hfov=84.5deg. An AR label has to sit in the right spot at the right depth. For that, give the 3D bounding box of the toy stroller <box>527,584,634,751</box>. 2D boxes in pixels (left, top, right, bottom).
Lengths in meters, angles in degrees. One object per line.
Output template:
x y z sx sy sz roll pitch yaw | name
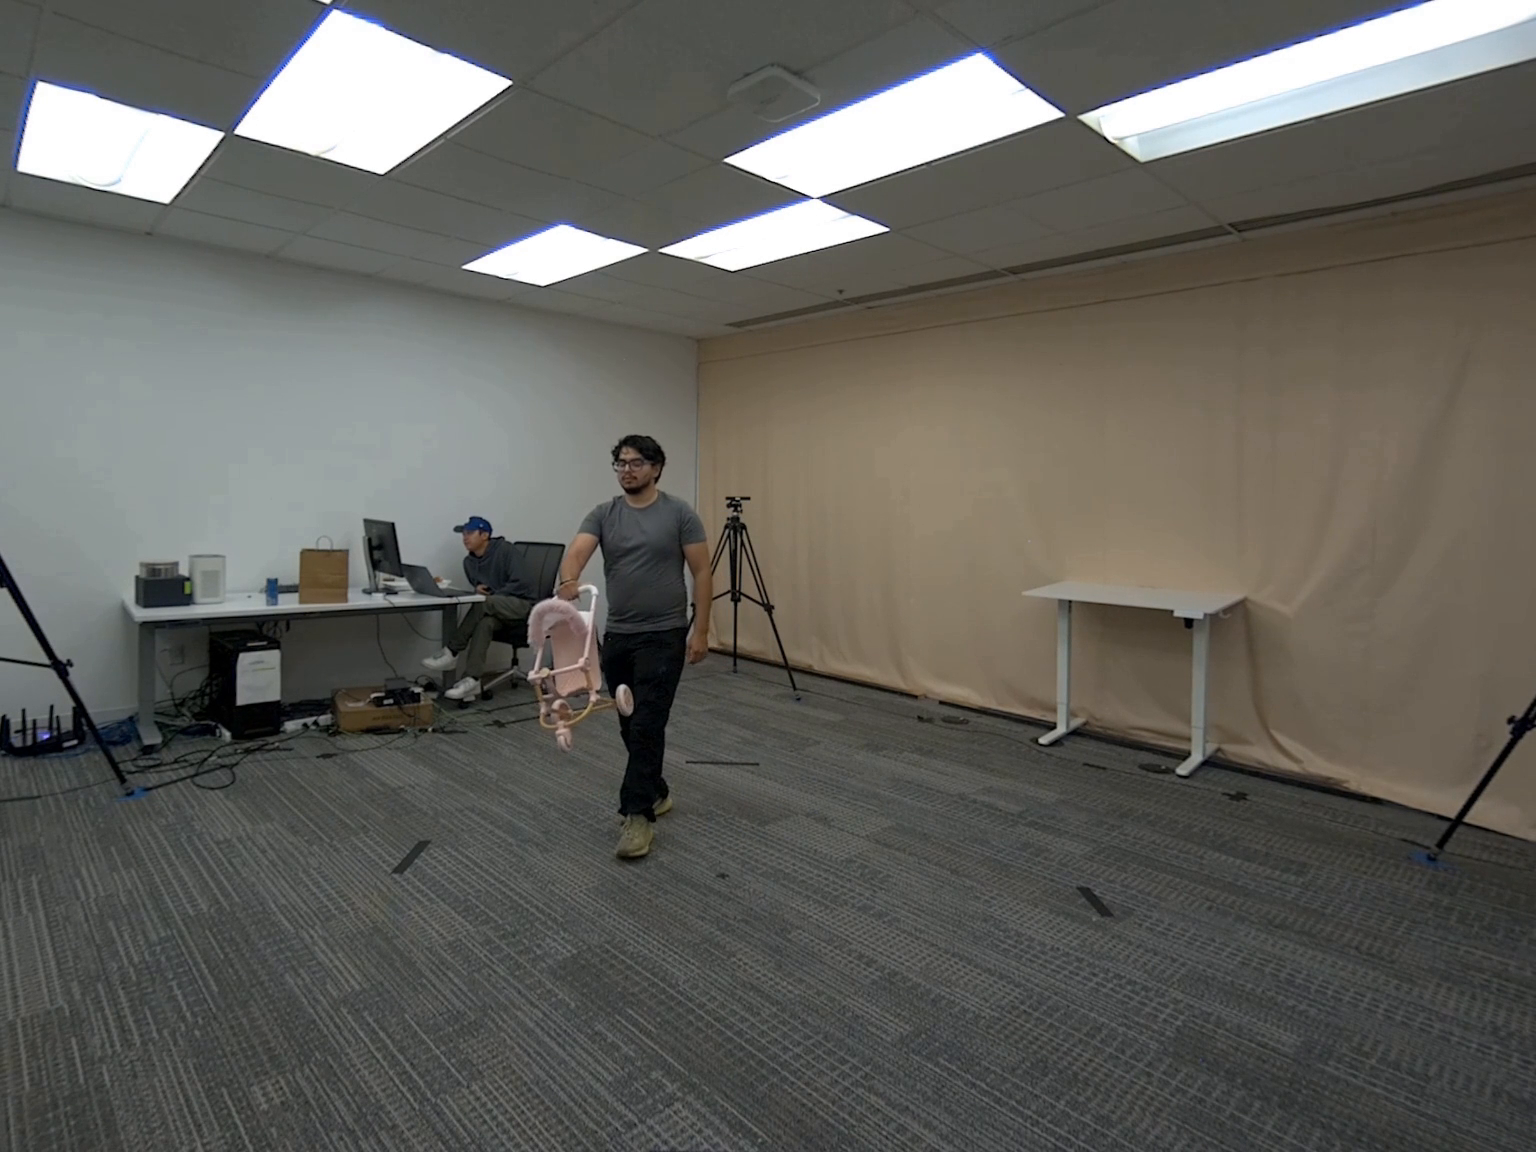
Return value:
-0.696 0.316 2.856 0.284 0.538 0.336 -14 -5 18 | toy stroller
